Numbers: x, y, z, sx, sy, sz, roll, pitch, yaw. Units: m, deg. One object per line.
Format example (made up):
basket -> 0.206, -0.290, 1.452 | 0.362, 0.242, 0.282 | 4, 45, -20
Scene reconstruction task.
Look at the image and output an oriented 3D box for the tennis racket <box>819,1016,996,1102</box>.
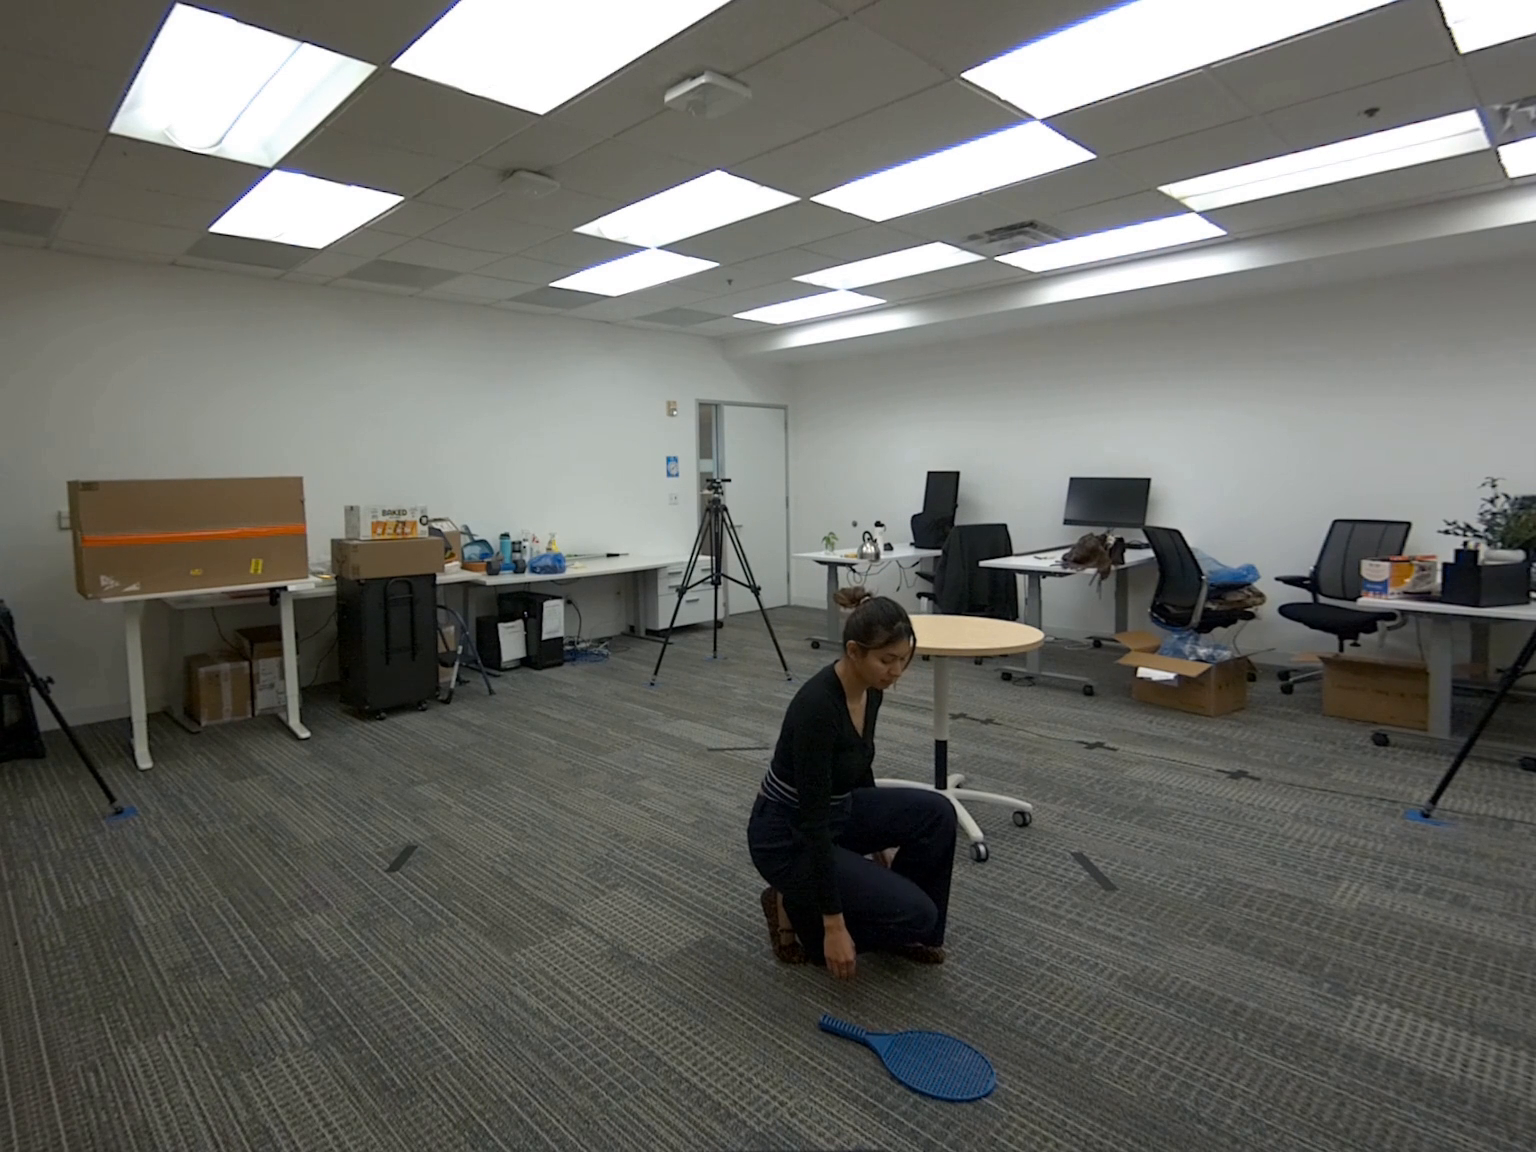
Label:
tennis racket -> 0.328, 1.150, 2.061 | 0.444, 0.031, 0.209 | 4, 10, 29
